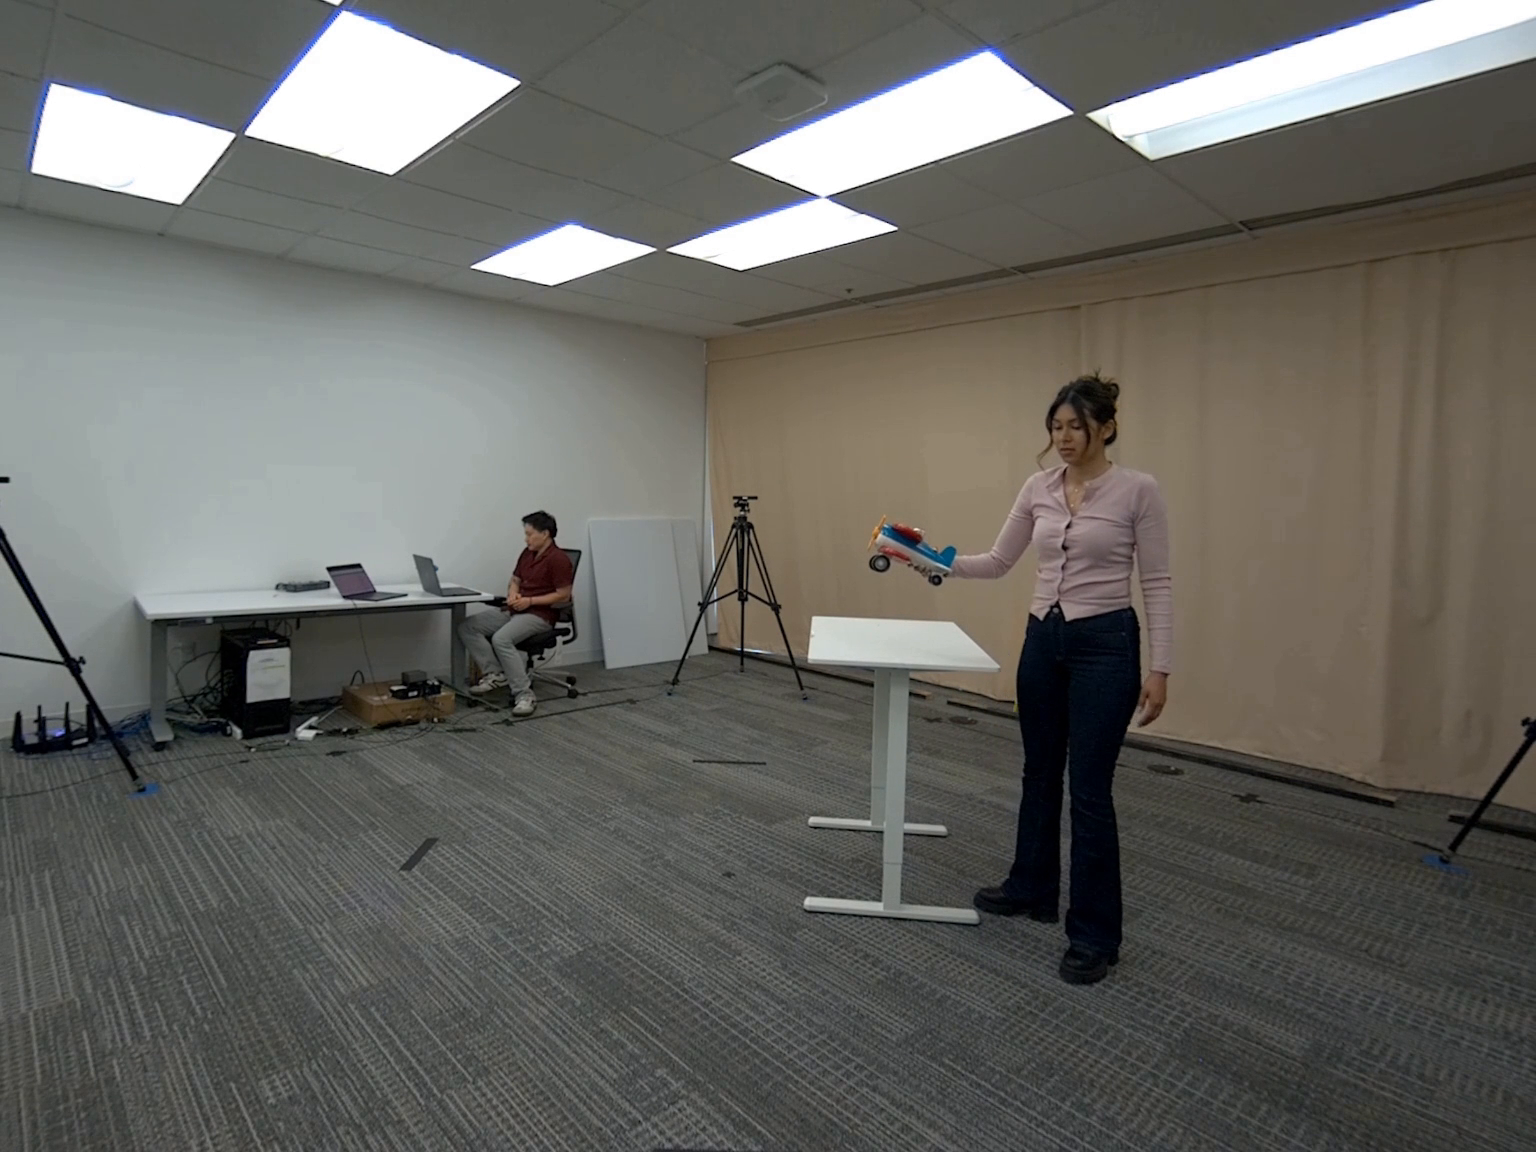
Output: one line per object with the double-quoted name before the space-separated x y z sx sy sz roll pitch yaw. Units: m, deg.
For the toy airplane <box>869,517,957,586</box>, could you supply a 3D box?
"toy airplane" 0.428 -0.069 2.591 0.254 0.156 0.256 14 0 -24
